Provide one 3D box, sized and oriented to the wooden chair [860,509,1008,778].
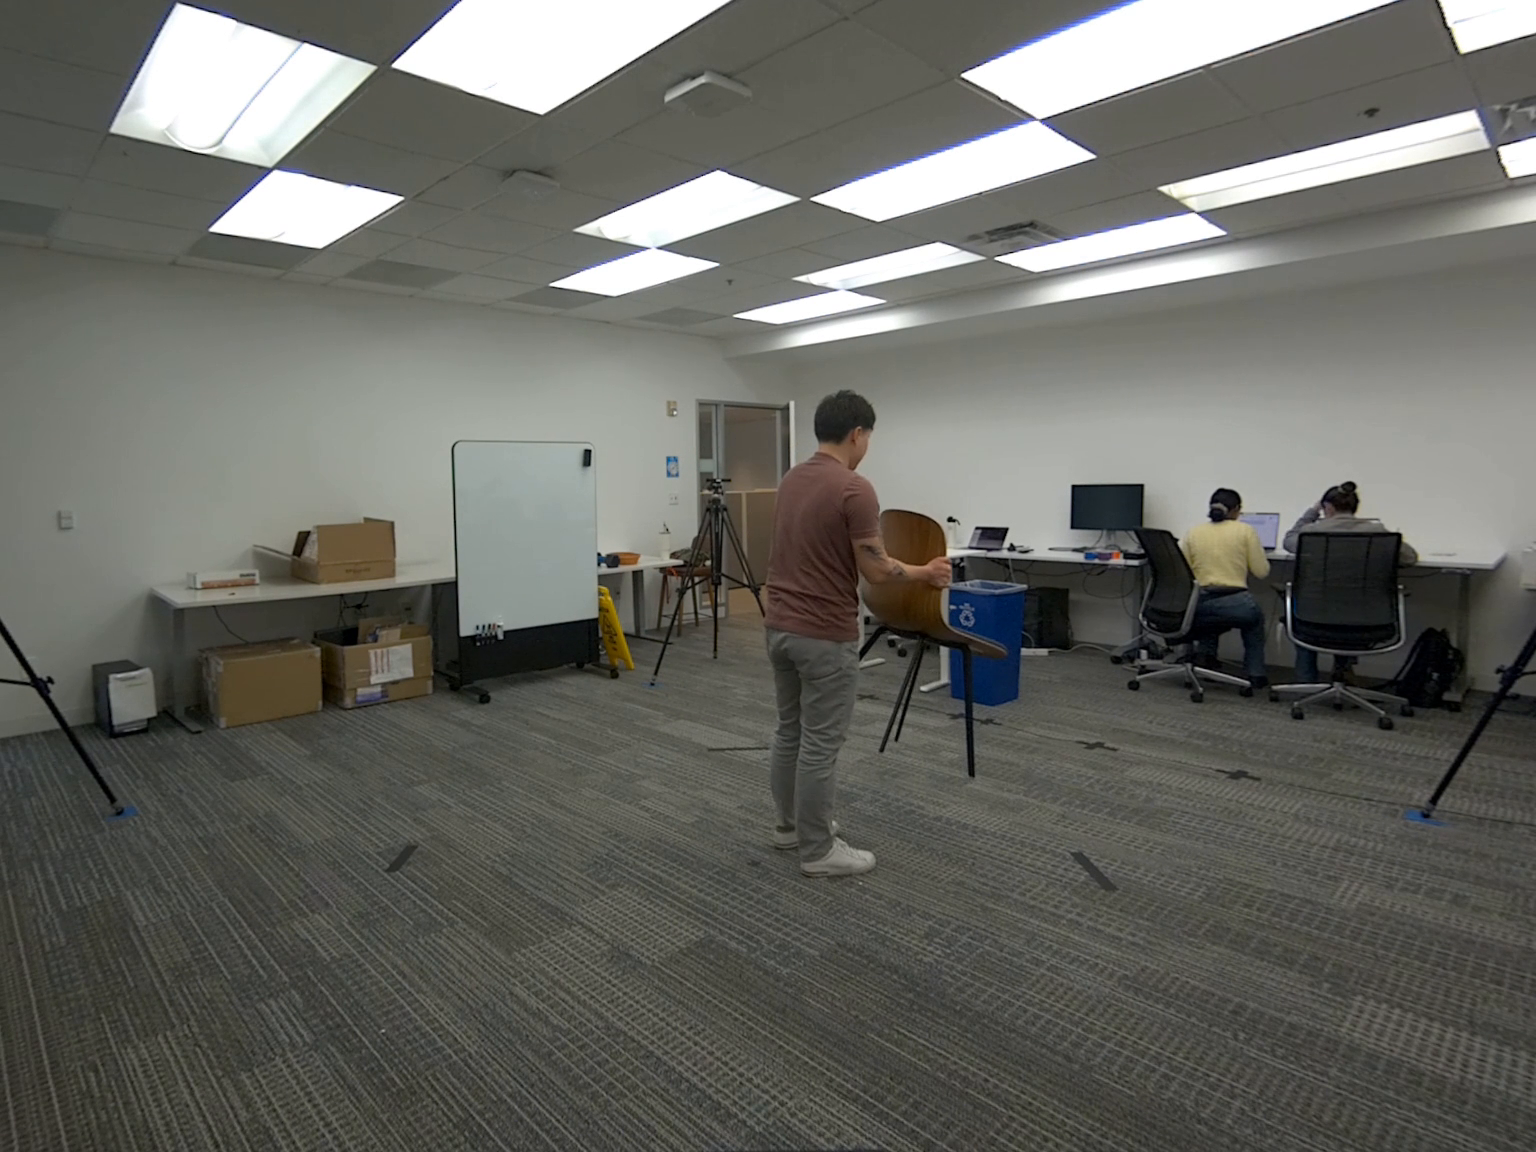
[{"bbox_3d":[0.585,0.238,3.236,0.508,0.879,0.492,16,-3,-30],"label":"wooden chair"}]
